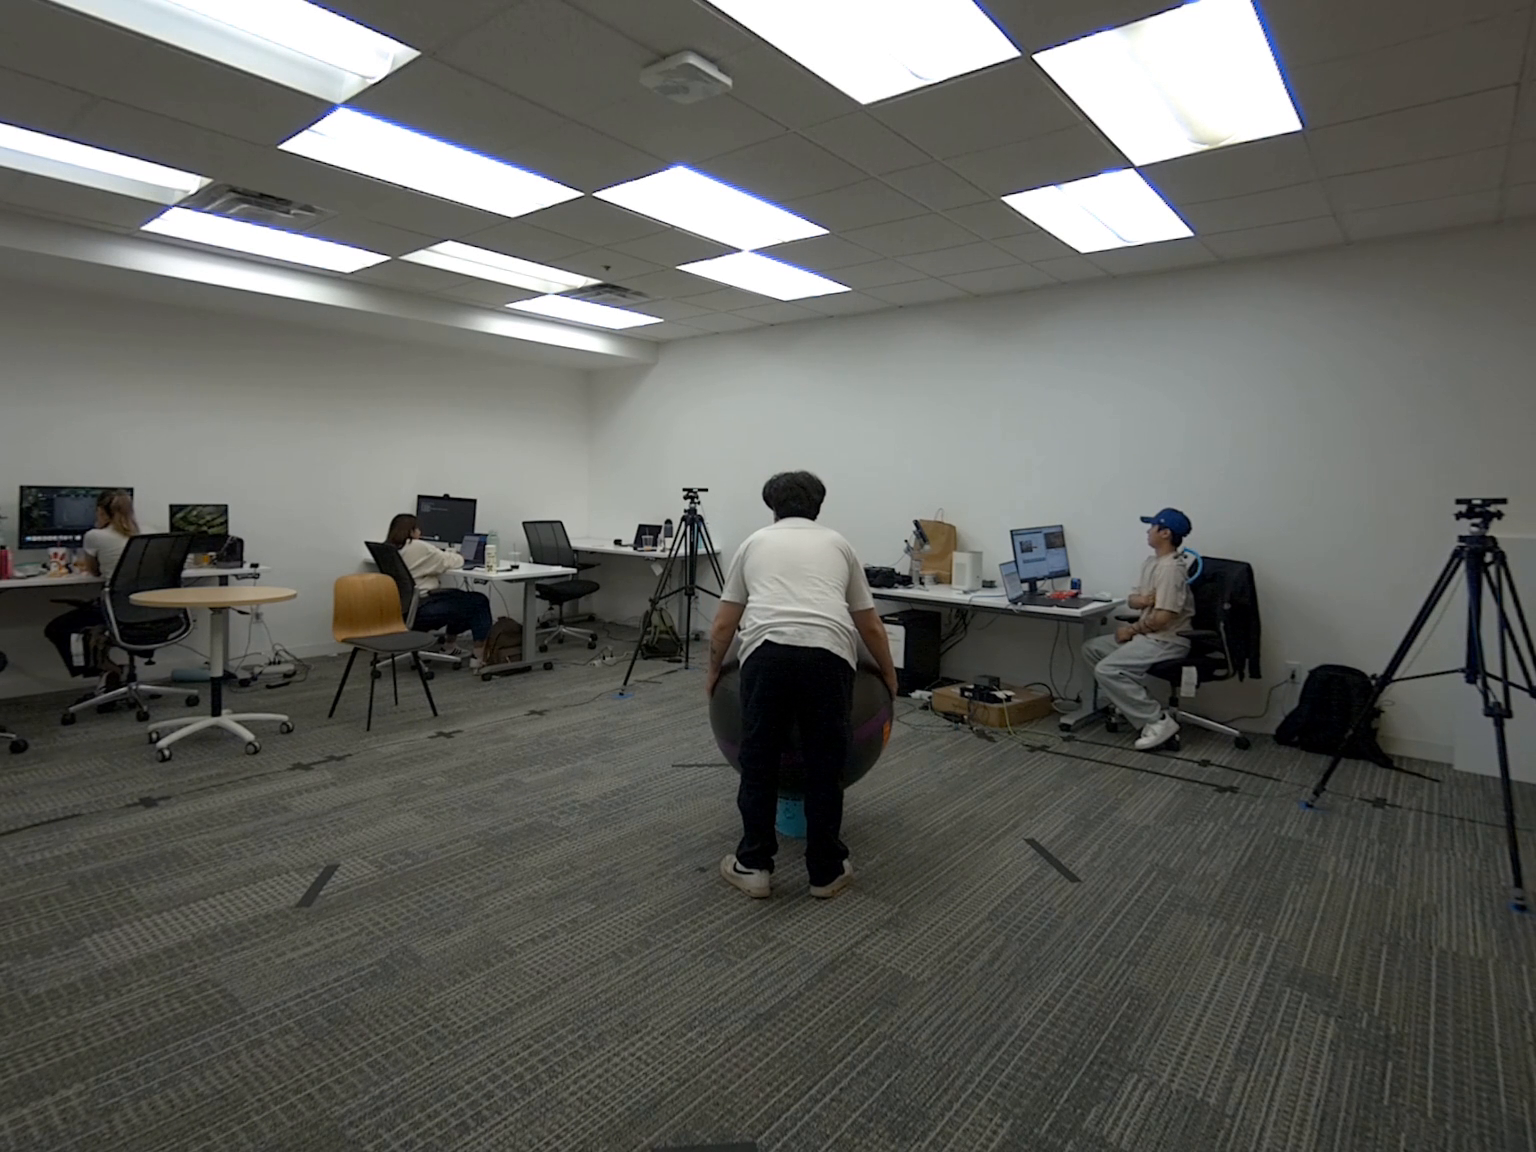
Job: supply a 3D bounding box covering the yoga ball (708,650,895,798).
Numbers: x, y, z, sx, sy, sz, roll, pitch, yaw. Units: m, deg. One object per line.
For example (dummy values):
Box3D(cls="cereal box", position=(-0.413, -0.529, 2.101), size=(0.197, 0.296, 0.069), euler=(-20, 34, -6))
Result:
Box3D(cls="yoga ball", position=(0.133, 0.511, 3.481), size=(0.757, 0.755, 0.762), euler=(1, 4, -2))
